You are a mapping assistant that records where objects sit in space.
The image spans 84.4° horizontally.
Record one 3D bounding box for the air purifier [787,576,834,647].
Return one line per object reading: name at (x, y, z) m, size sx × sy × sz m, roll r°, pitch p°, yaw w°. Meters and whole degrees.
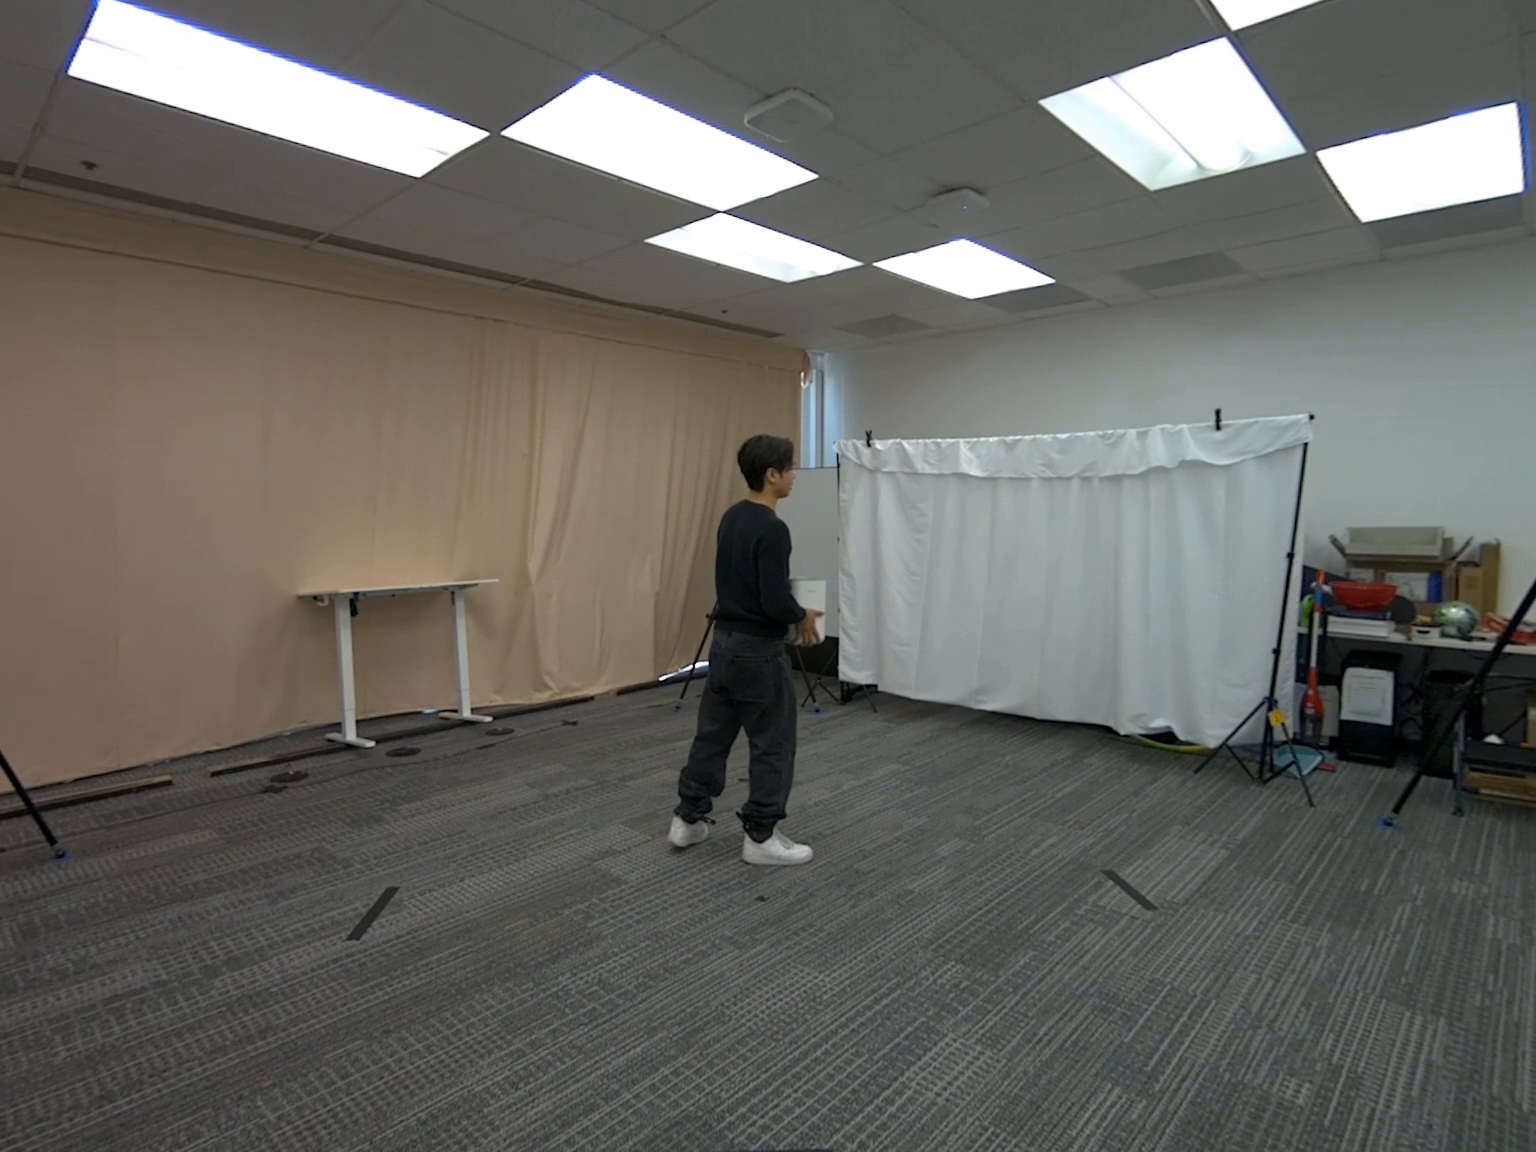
air purifier at (0.146, 0.138, 3.431) m, size 0.167 × 0.265 × 0.175 m, roll 0°, pitch 2°, yaw -22°
